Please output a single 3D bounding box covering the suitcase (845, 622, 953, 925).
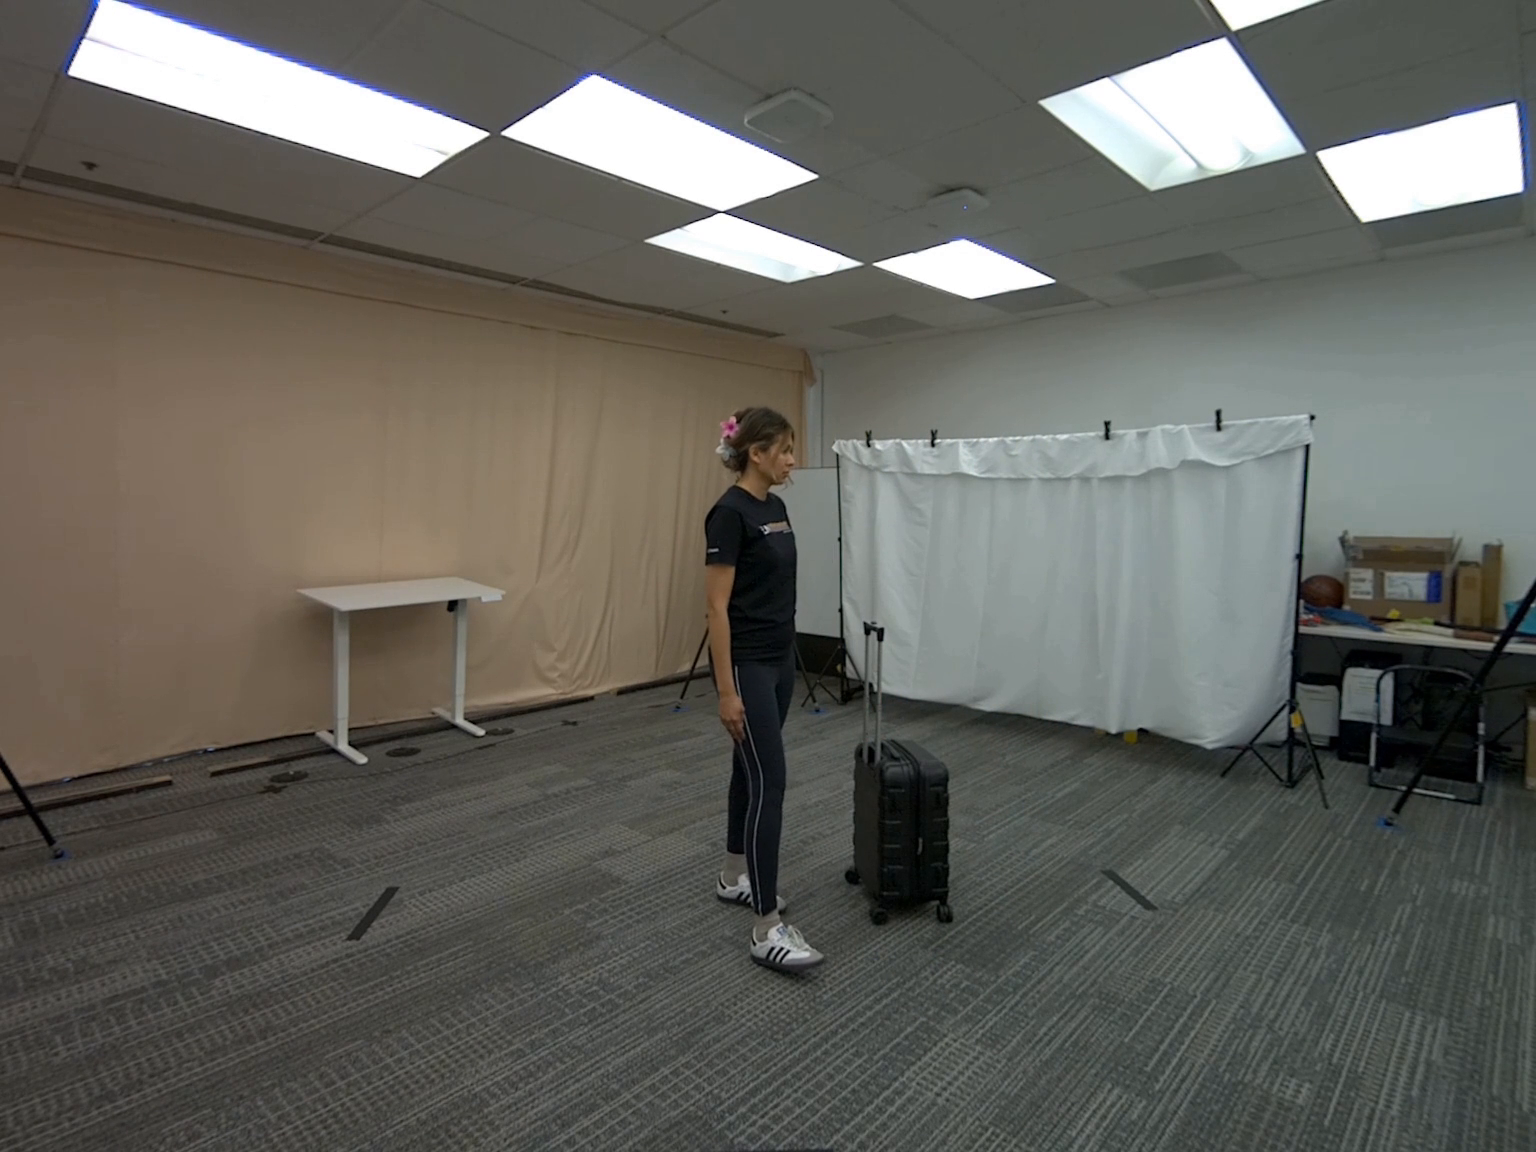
[{"bbox_3d":[0.477,0.670,2.946,0.255,0.976,0.388,3,4,-9],"label":"suitcase"}]
